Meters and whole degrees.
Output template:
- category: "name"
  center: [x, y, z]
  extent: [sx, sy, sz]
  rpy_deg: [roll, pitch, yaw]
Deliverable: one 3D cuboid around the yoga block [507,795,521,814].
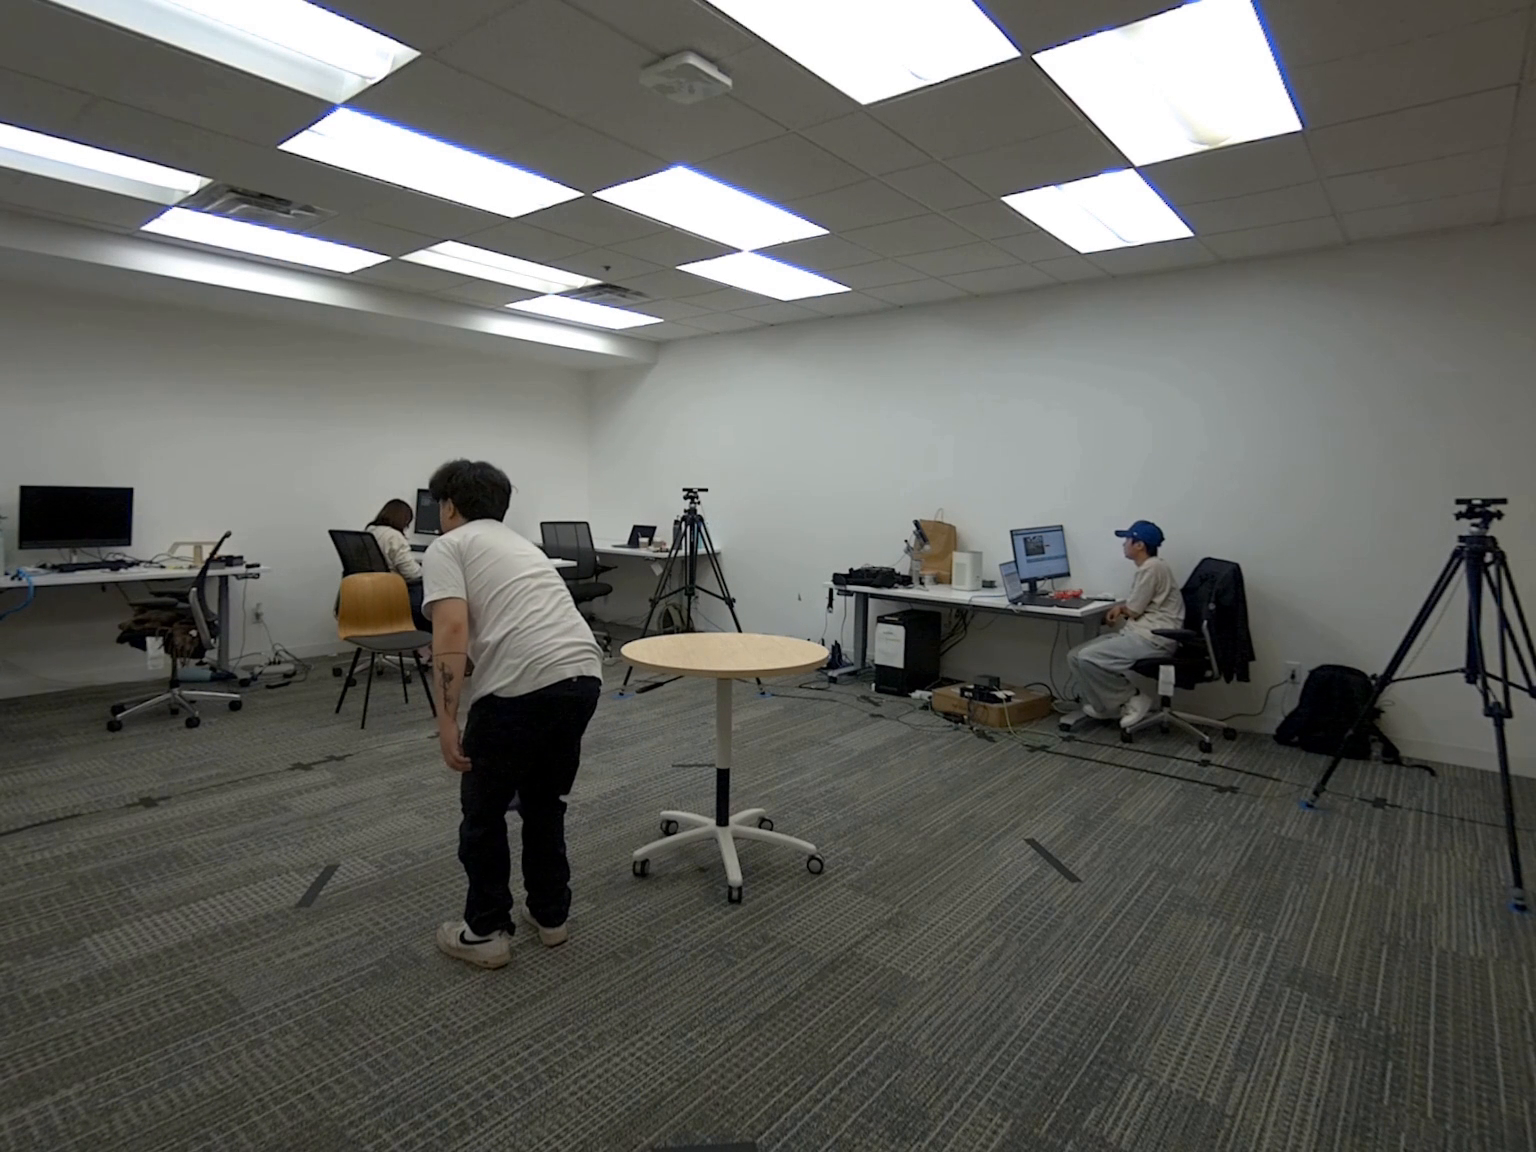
- category: "yoga block"
  center: [-0.872, 0.666, 2.852]
  extent: [0.146, 0.235, 0.076]
  rpy_deg: [1, -25, -17]
